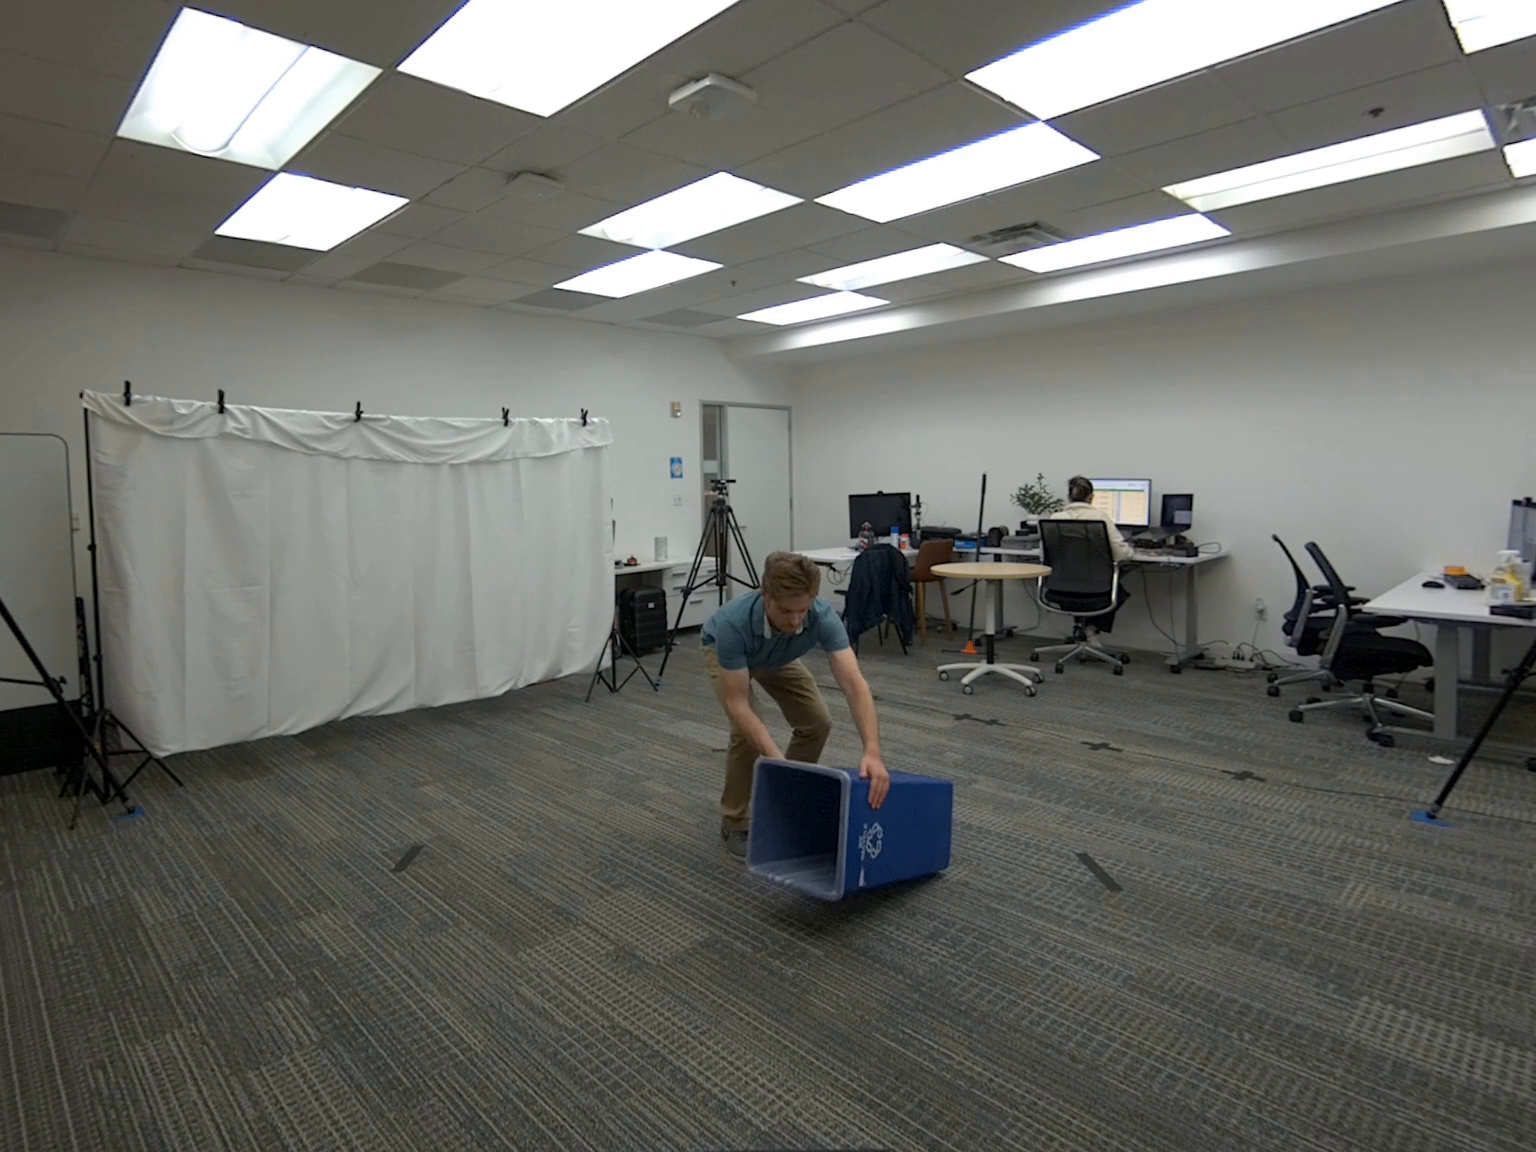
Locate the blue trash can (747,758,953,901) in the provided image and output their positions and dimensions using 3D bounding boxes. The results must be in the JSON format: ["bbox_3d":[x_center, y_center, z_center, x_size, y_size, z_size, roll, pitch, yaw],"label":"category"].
[{"bbox_3d":[0.305,0.827,2.883,0.384,0.381,0.688,-2,-12,41],"label":"blue trash can"}]
